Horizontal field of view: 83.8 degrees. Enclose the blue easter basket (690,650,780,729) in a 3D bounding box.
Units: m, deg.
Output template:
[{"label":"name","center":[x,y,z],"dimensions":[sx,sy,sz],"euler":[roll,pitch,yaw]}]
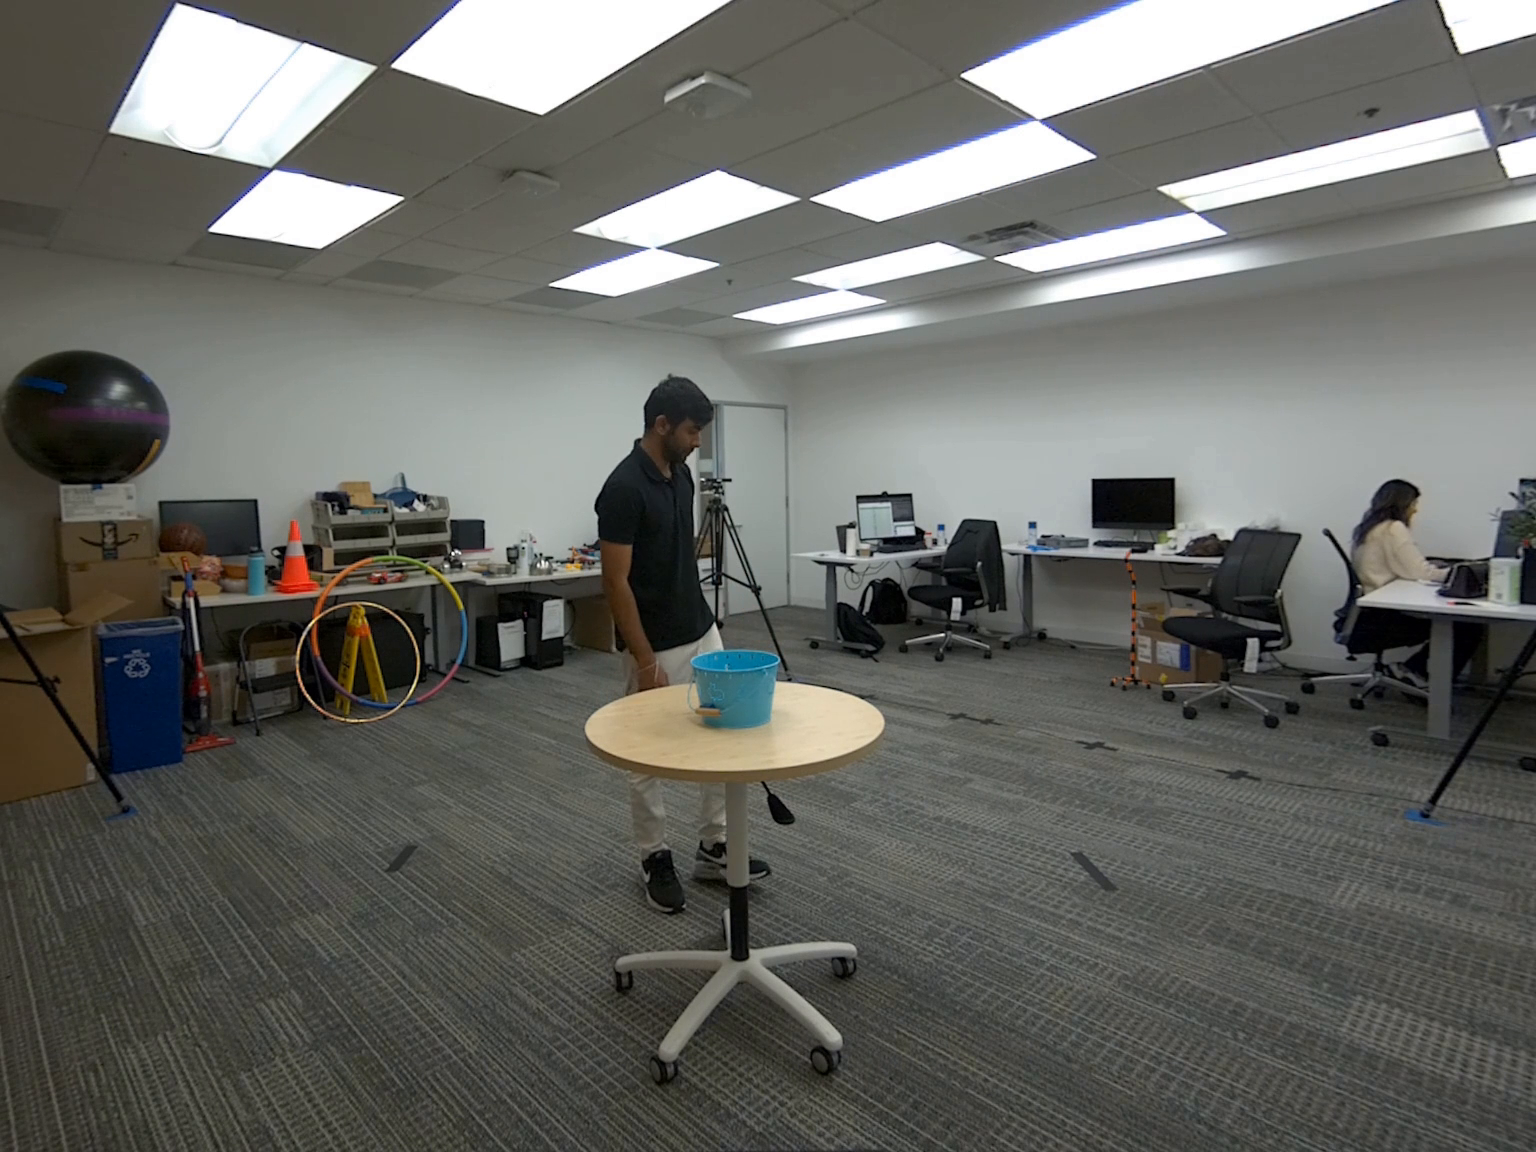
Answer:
[{"label":"blue easter basket","center":[-0.090,0.297,2.203],"dimensions":[0.243,0.155,0.245],"euler":[-2,6,-2]}]
